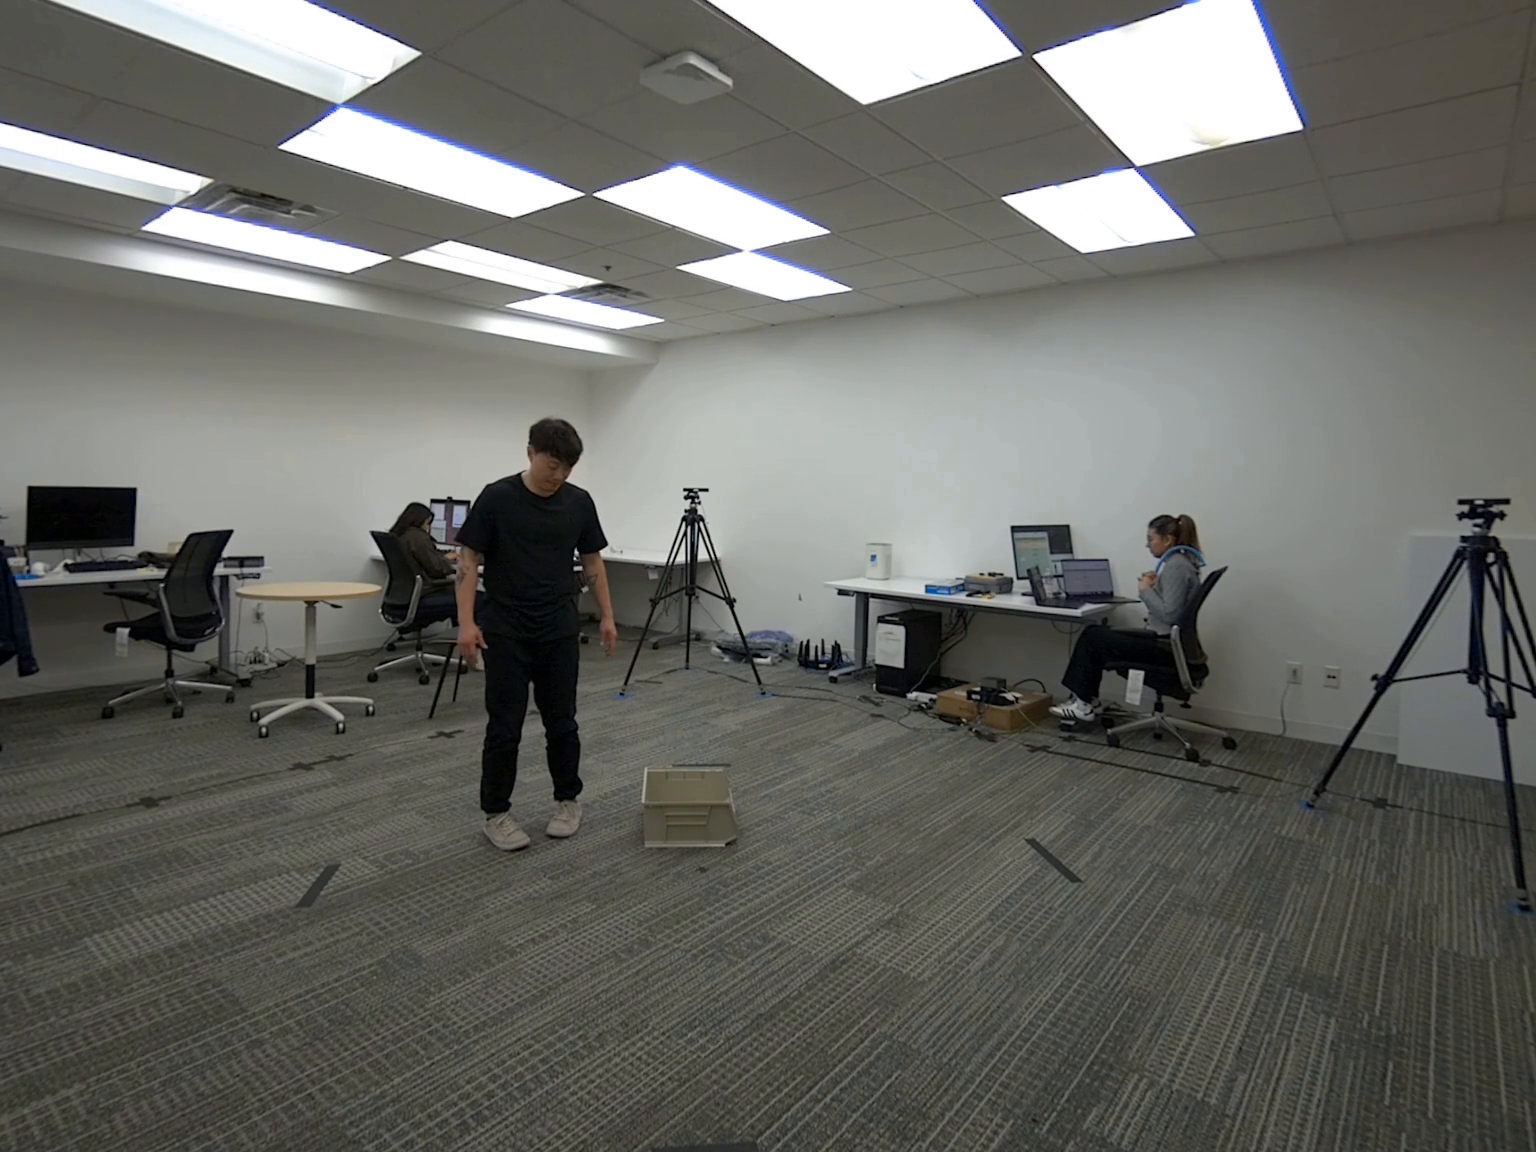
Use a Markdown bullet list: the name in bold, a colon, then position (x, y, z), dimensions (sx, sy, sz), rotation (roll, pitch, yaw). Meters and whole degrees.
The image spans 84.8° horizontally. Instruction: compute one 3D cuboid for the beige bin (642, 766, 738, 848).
- **beige bin**: position (-0.337, 0.942, 3.500), dimensions (0.375, 0.188, 0.427), rotation (0, 7, -6)
